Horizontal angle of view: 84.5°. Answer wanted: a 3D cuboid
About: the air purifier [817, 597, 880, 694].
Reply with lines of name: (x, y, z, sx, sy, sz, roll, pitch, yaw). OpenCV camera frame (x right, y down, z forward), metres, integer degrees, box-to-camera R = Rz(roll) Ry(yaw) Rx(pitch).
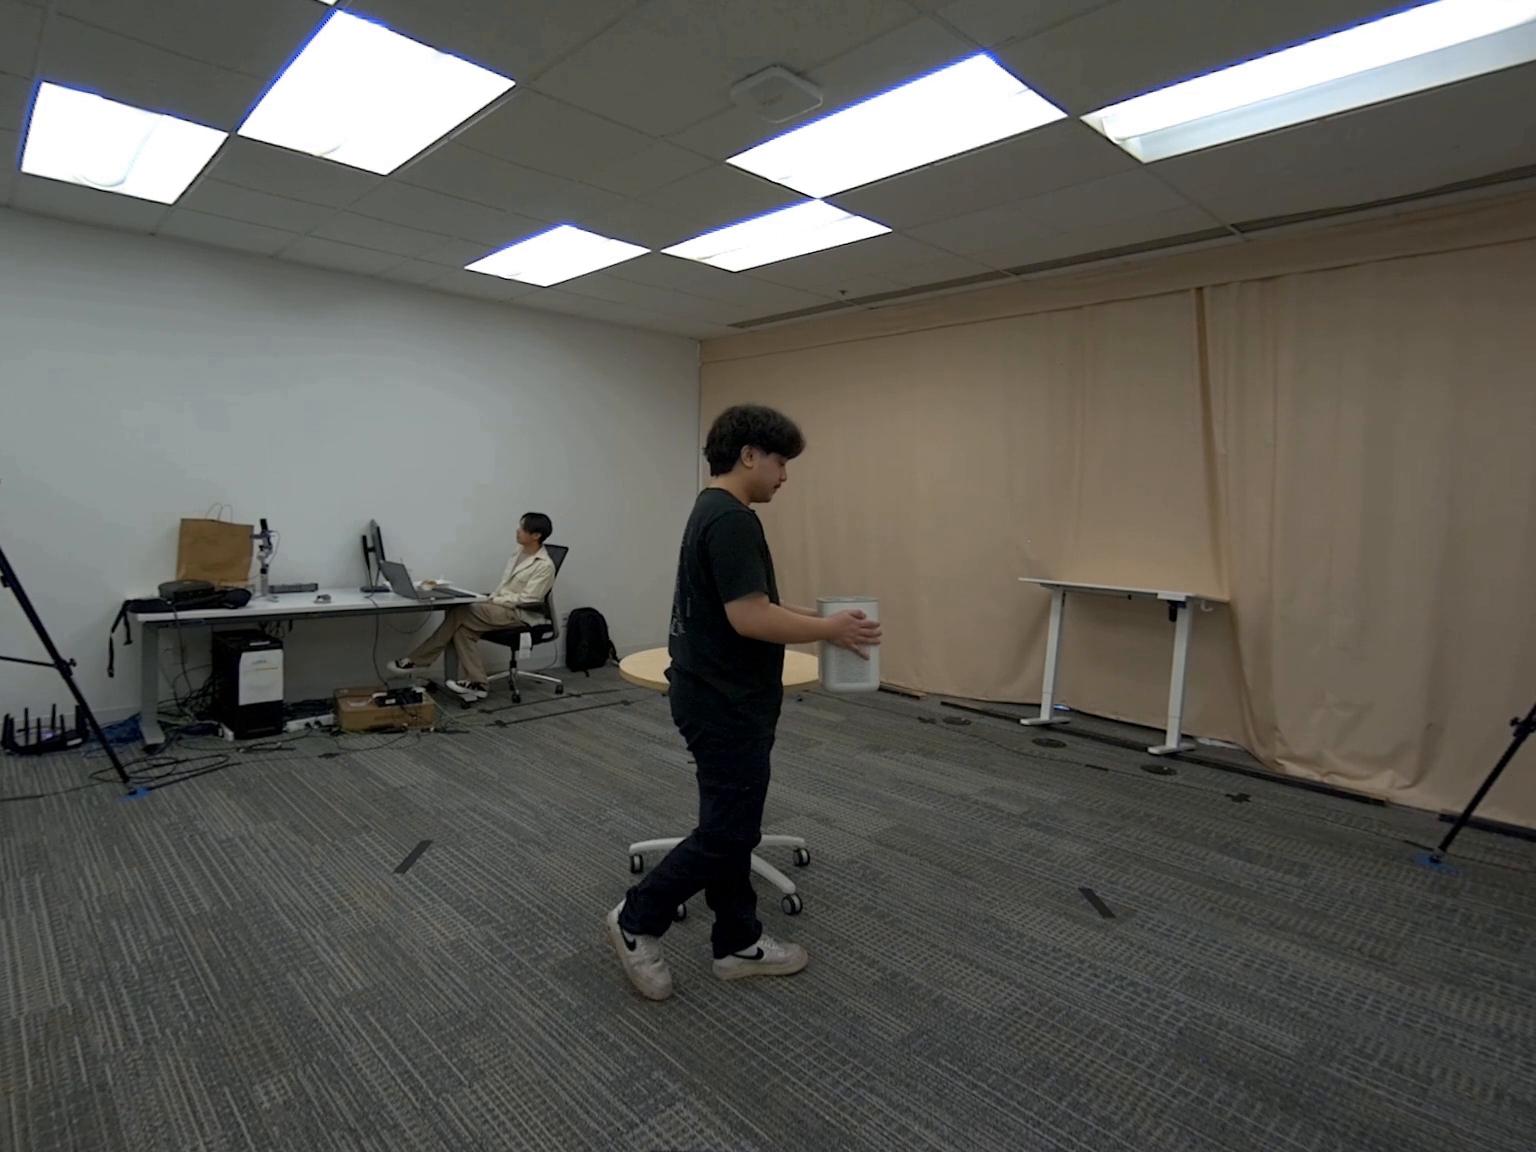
air purifier: (0.212, 0.198, 2.423, 0.171, 0.266, 0.172, 0, -1, -7)
